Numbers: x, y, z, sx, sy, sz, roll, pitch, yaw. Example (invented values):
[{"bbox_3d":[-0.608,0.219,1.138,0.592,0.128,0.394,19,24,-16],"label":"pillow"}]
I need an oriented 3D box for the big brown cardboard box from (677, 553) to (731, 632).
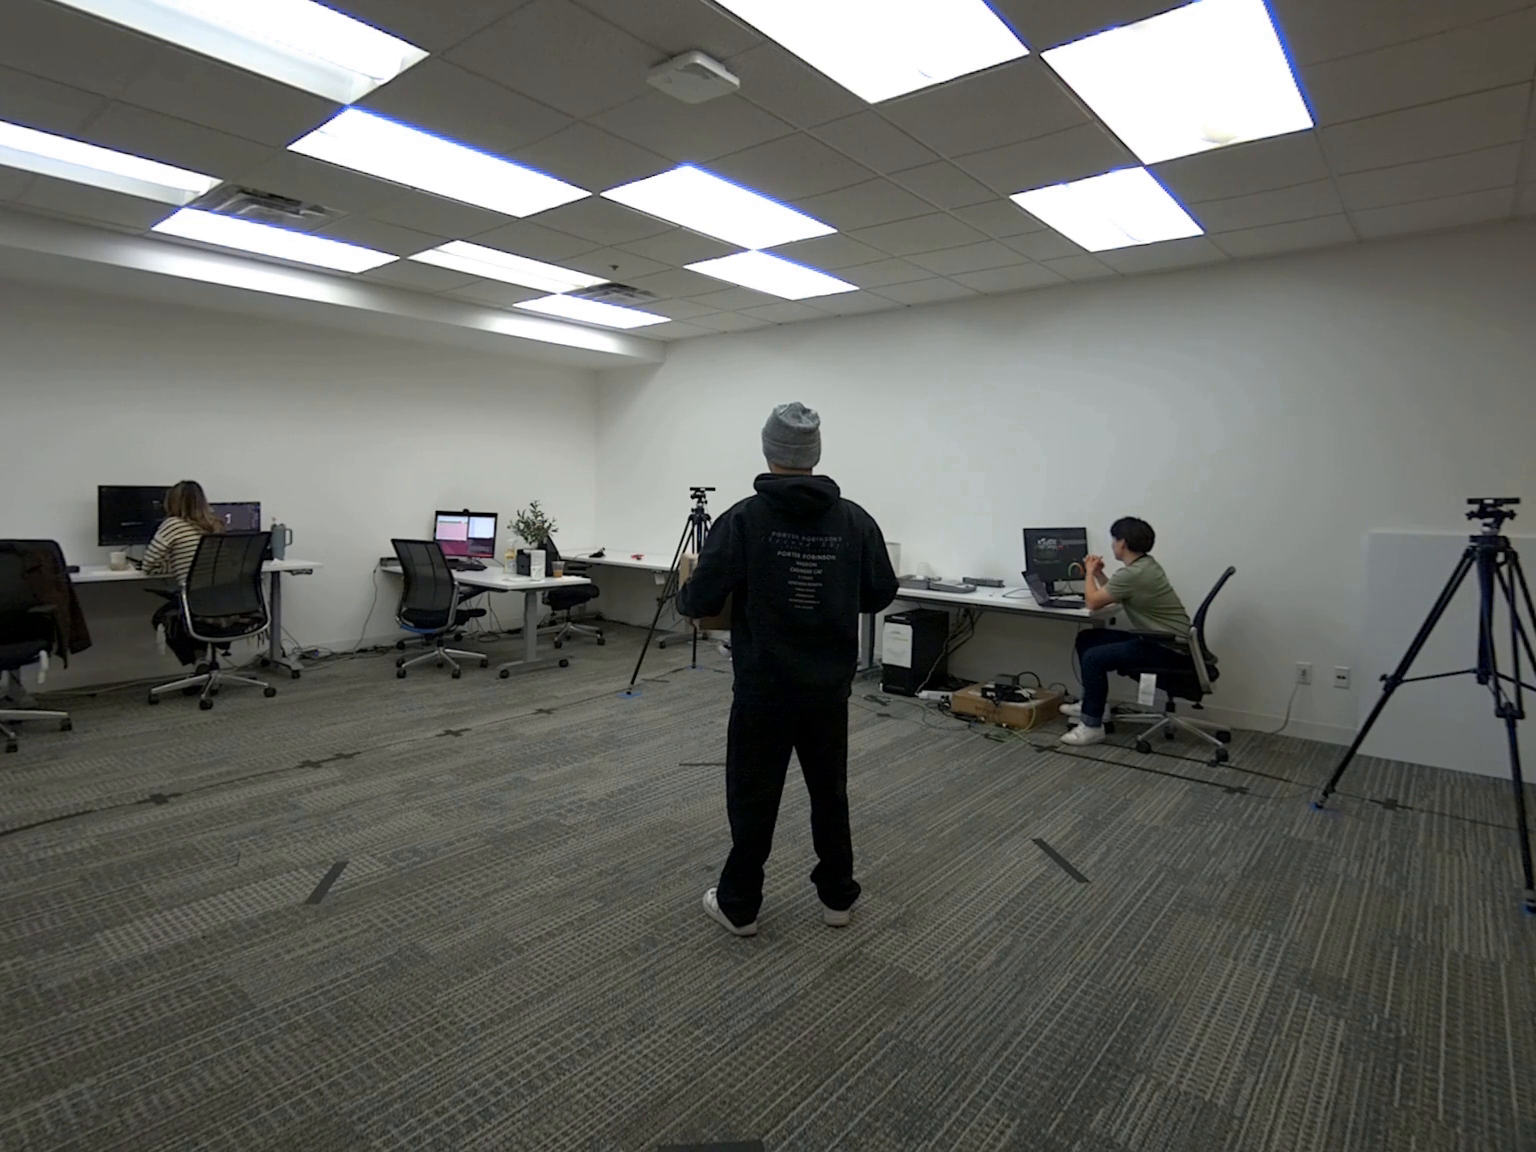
[{"bbox_3d":[-0.020,0.055,3.084,0.582,0.232,0.424,2,6,-11],"label":"big brown cardboard box"}]
